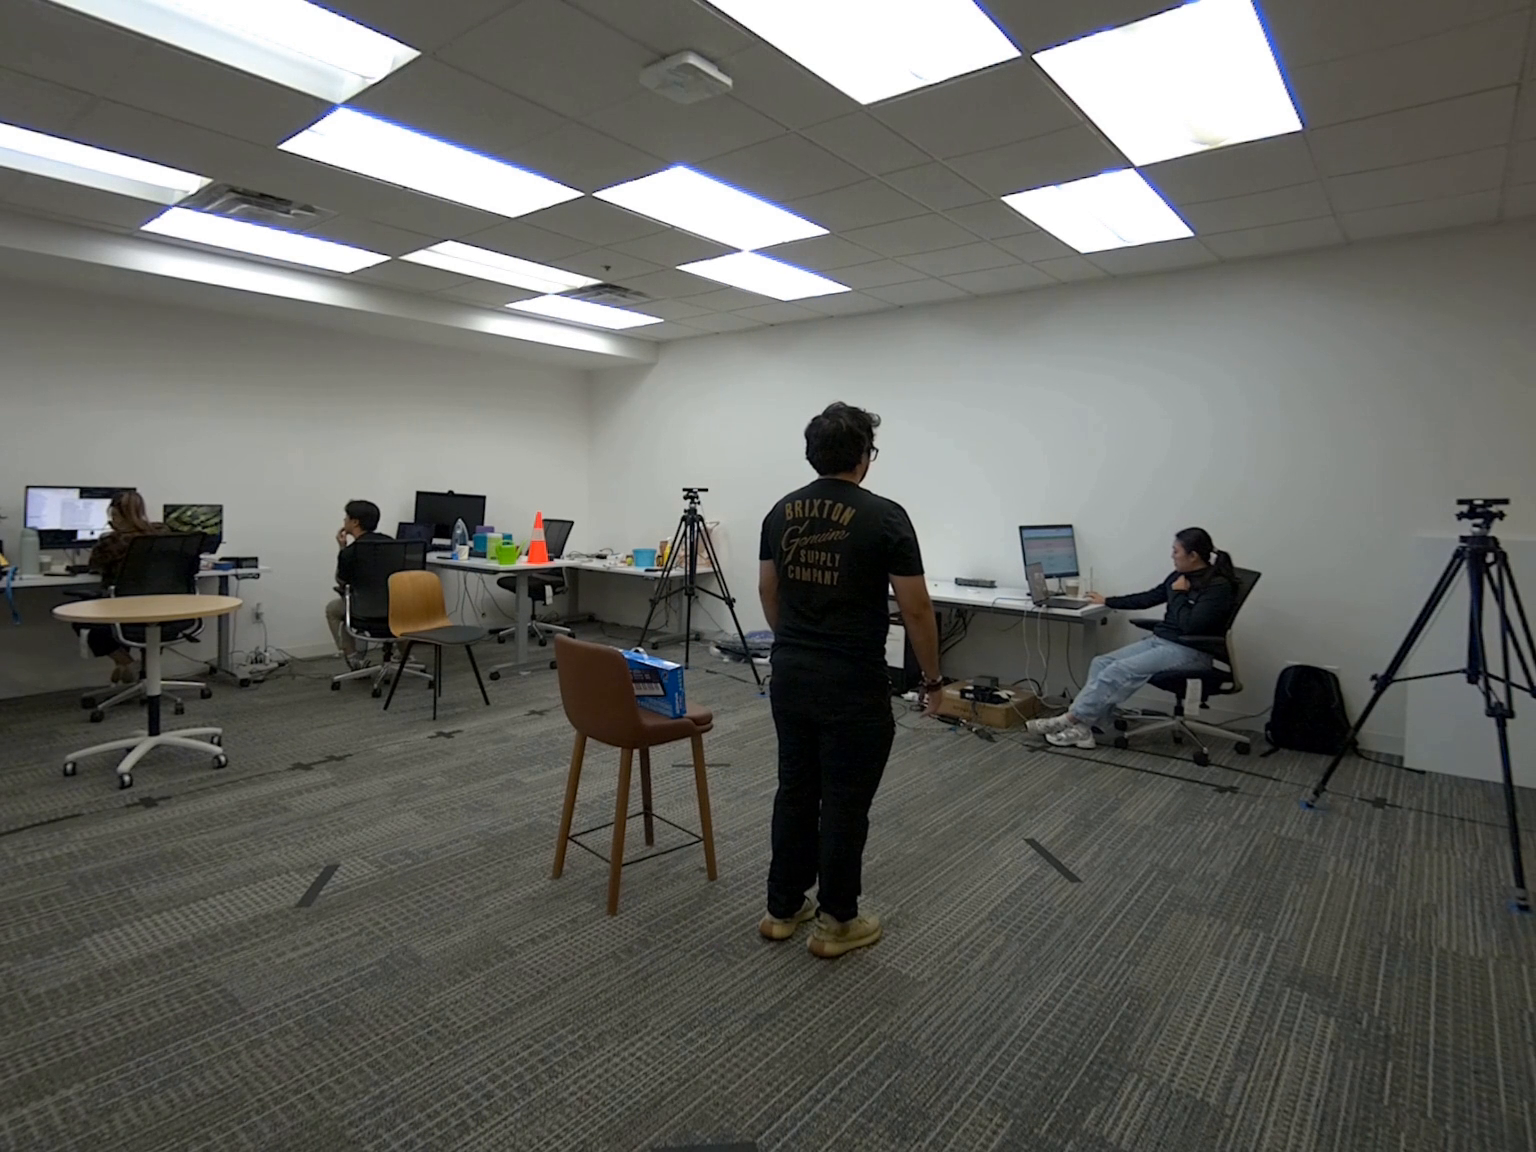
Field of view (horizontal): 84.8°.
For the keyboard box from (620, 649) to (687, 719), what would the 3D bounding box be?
[{"bbox_3d":[-0.465,0.372,3.039,0.057,0.174,0.452,-11,12,-41],"label":"keyboard box"}]
